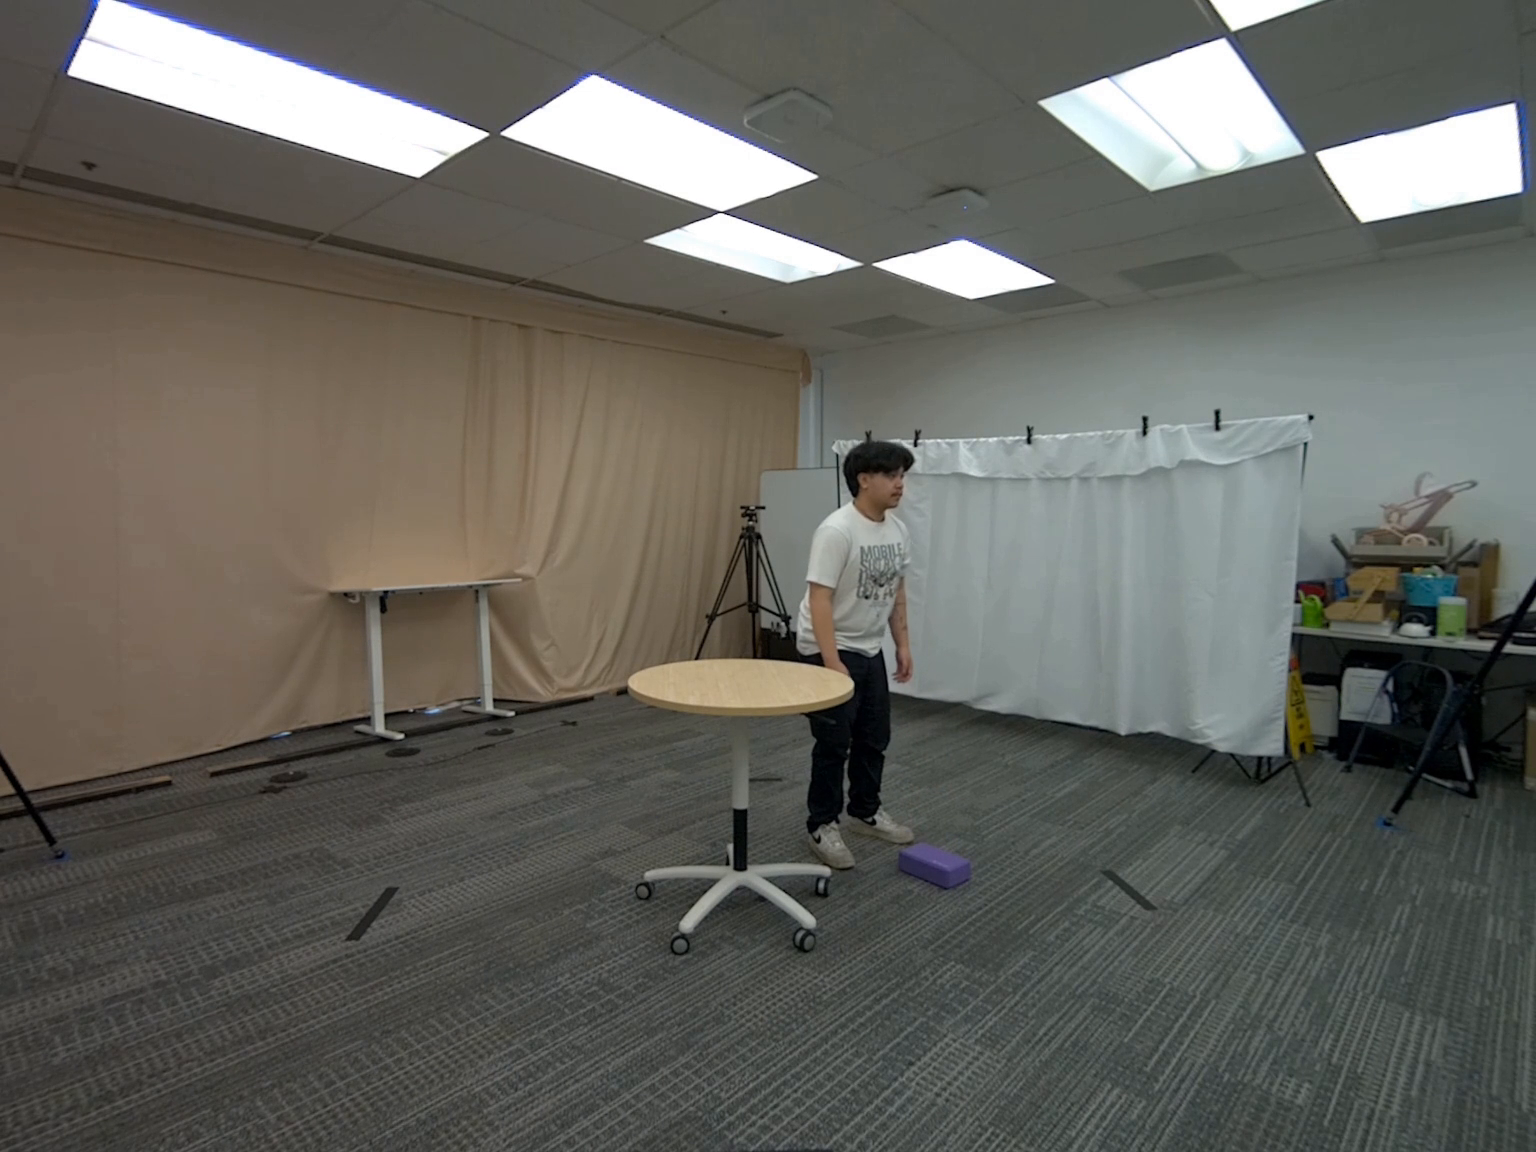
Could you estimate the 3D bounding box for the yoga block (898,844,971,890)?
[{"bbox_3d":[0.628,1.084,3.174,0.144,0.076,0.237,-3,6,-41],"label":"yoga block"}]
